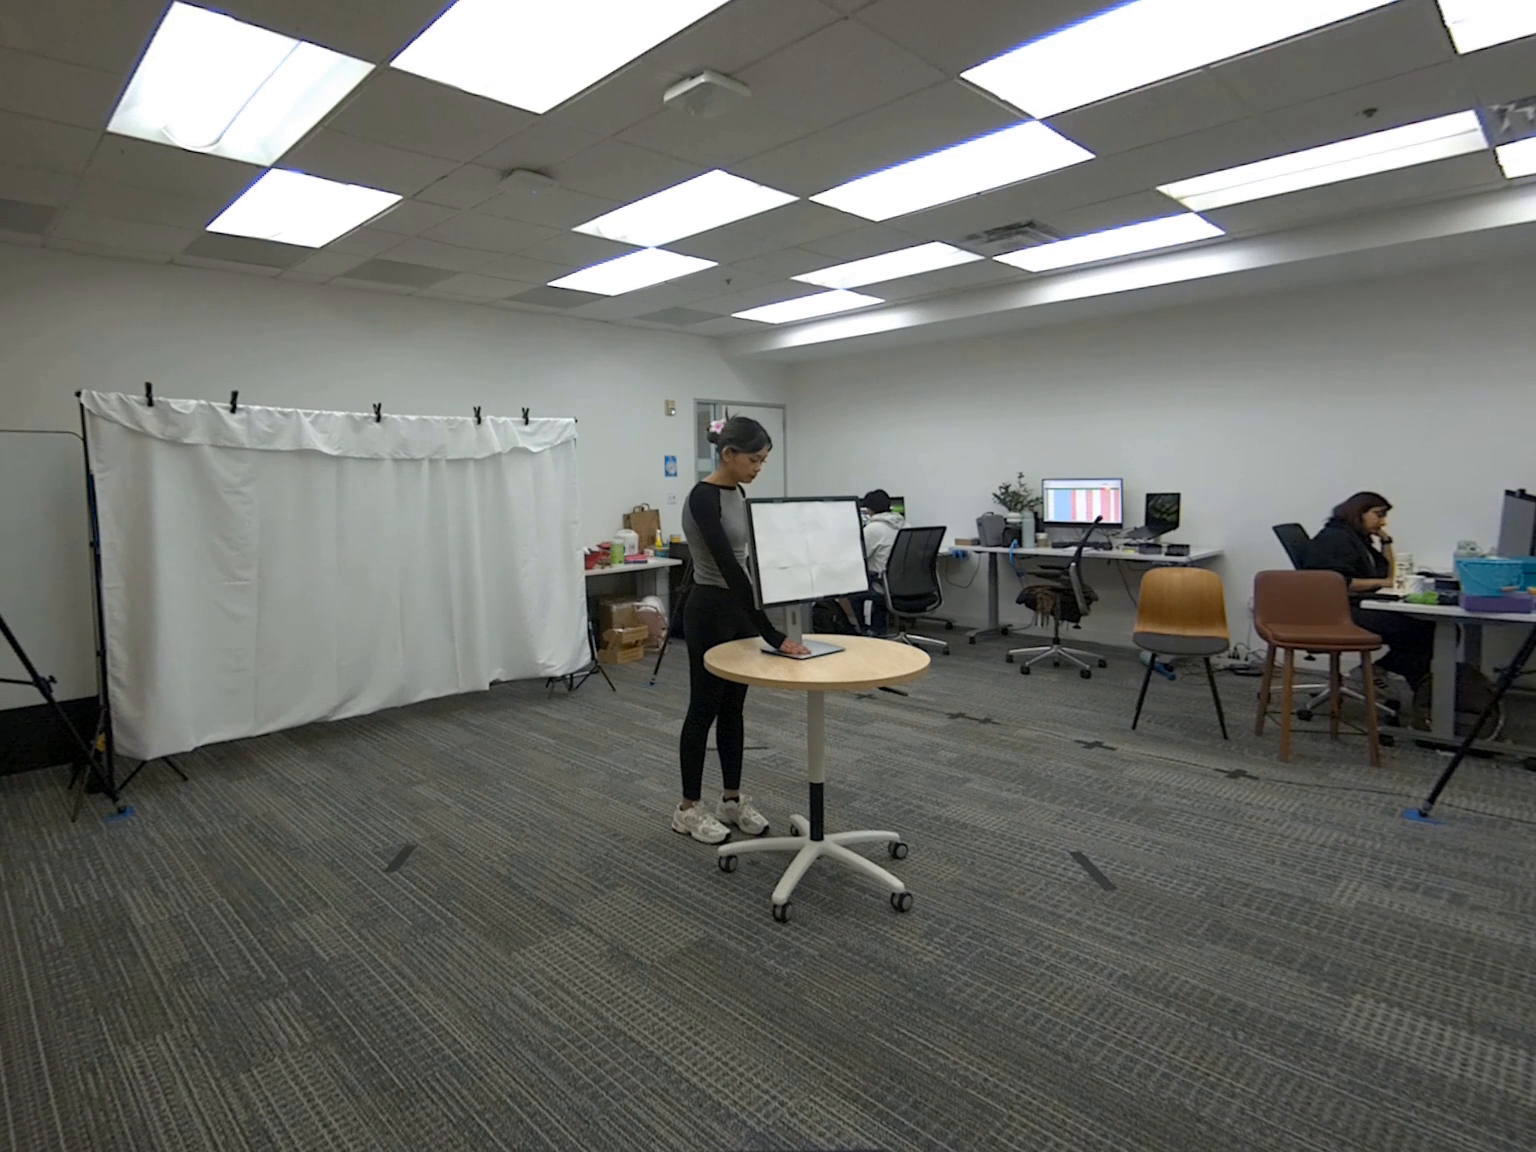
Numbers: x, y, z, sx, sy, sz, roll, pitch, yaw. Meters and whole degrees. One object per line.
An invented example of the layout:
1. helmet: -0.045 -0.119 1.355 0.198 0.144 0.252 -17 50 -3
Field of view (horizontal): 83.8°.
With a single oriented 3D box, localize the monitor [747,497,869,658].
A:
1. monitor: 0.120 -0.003 2.981 0.525 0.520 0.193 -5 7 -44
